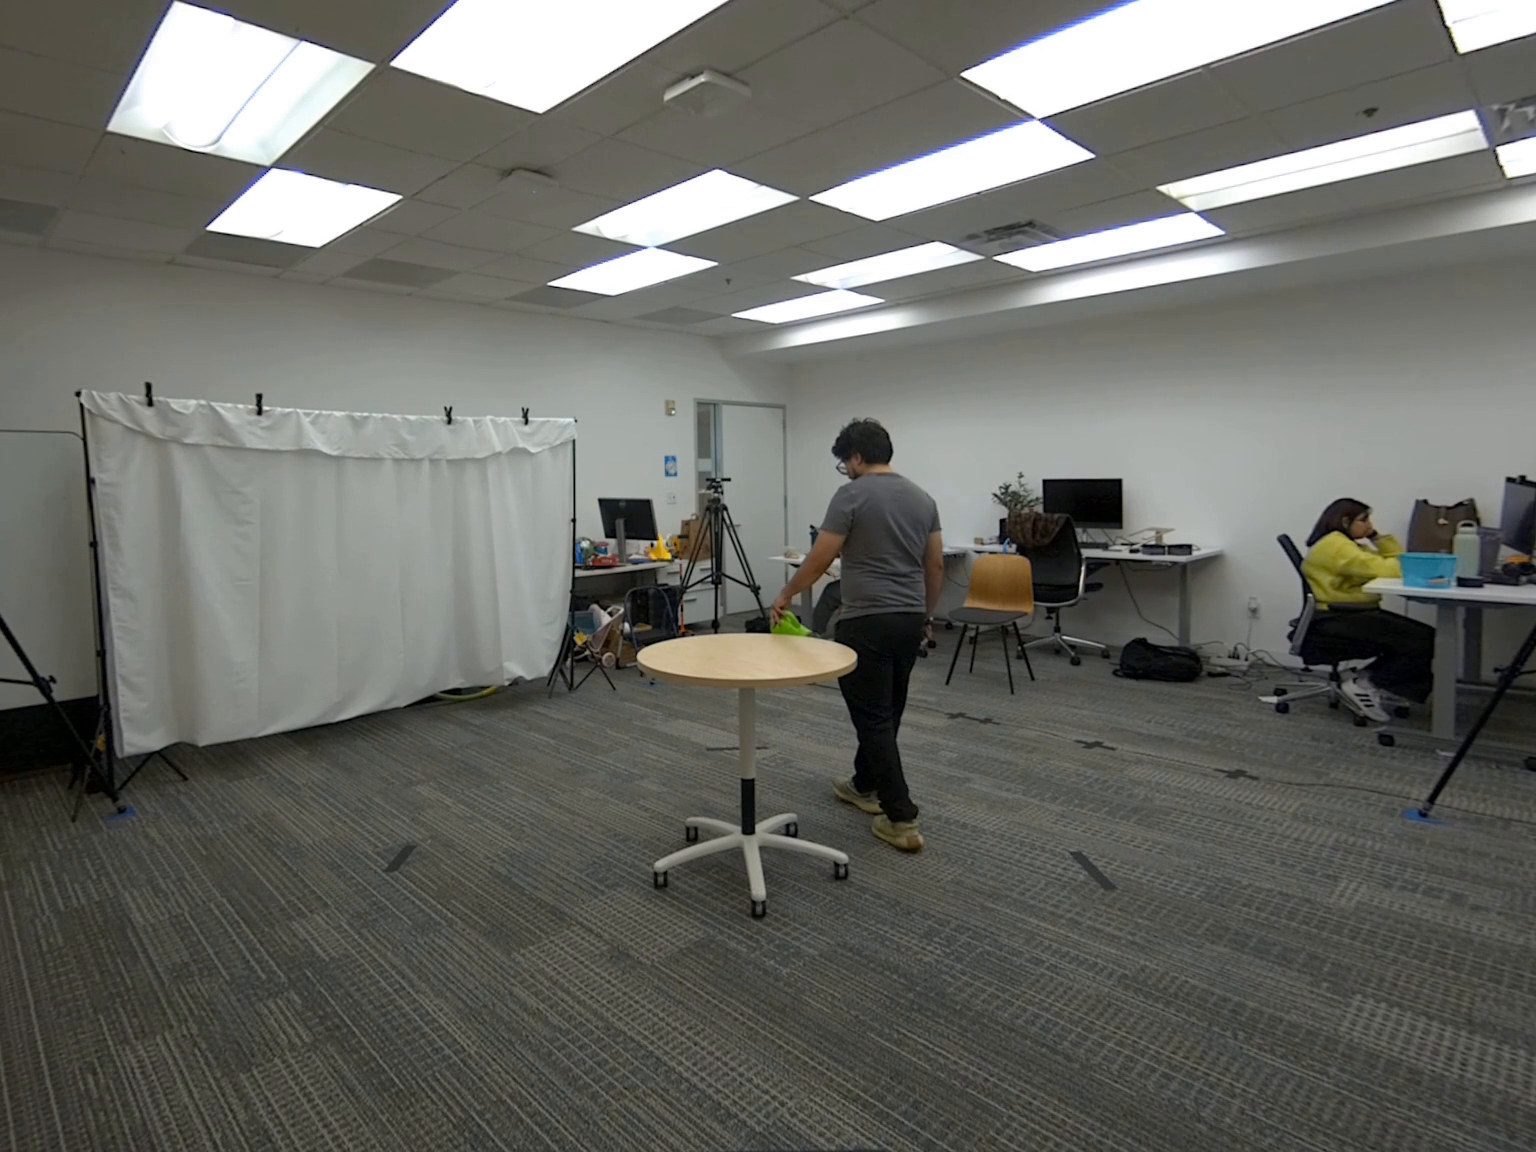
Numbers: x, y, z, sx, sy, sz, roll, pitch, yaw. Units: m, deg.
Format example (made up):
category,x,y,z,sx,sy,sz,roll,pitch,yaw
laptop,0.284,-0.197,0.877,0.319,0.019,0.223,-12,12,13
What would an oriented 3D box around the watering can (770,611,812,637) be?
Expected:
category,x,y,z,sx,sy,sz,roll,pitch,yaw
watering can,0.087,0.257,3.543,0.182,0.271,0.098,35,58,21
